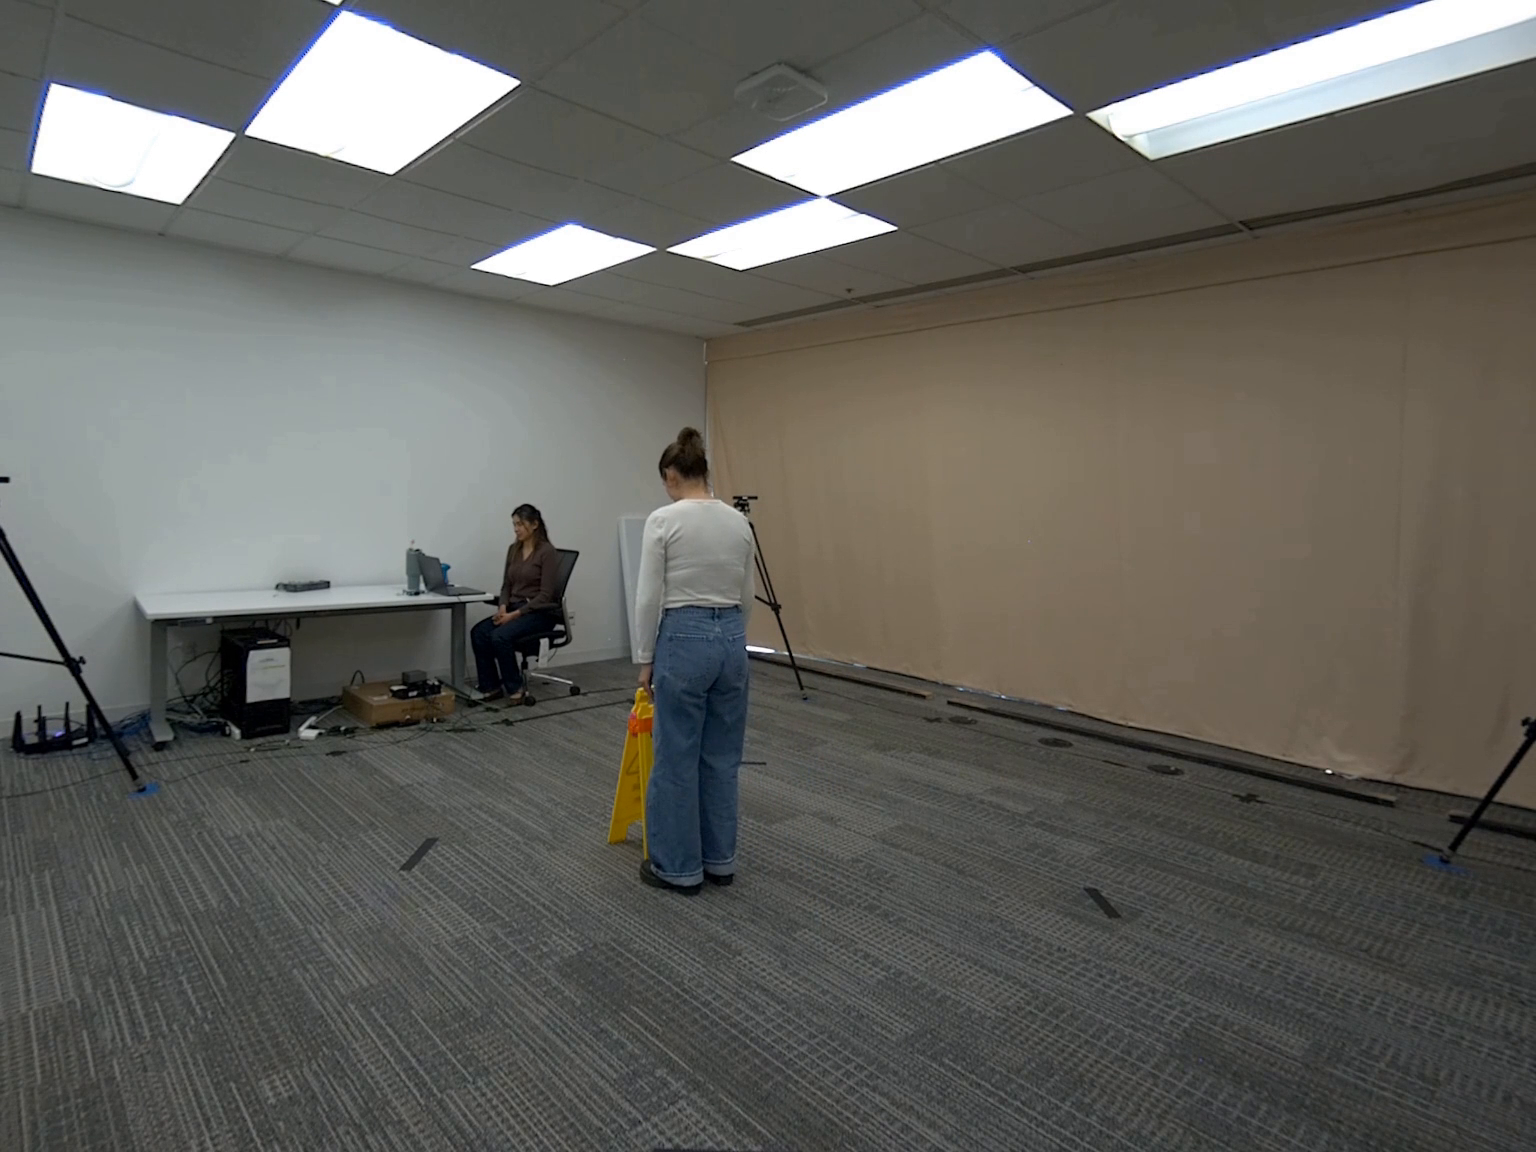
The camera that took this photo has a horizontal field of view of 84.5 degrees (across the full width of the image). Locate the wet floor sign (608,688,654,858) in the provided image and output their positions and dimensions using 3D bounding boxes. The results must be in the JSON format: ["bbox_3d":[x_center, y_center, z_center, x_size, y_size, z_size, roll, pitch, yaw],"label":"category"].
[{"bbox_3d":[-0.438,0.752,3.320,0.276,0.644,0.297,-1,4,-41],"label":"wet floor sign"}]
